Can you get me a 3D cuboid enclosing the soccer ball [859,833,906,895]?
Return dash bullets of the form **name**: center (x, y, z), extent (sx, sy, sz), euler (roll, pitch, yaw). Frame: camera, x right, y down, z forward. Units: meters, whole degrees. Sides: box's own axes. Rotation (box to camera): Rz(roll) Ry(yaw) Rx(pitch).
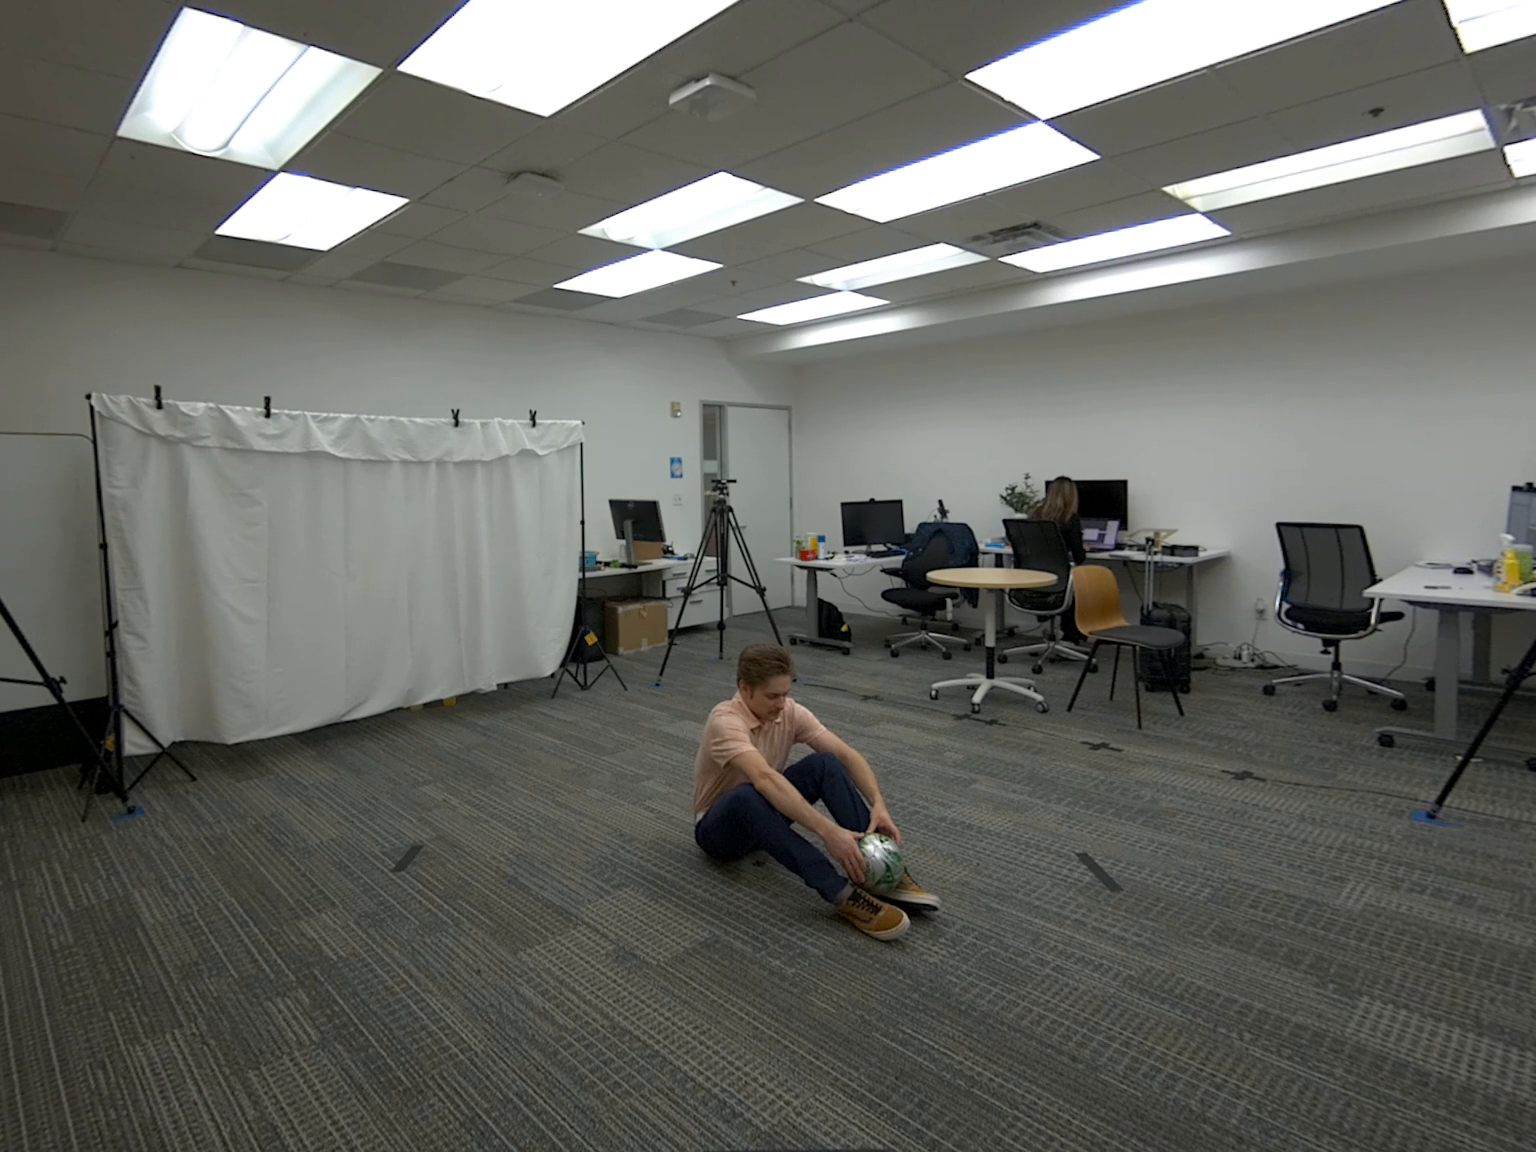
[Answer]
- **soccer ball**: center (0.331, 0.922, 2.744), extent (0.187, 0.187, 0.188), euler (-1, 5, -2)
